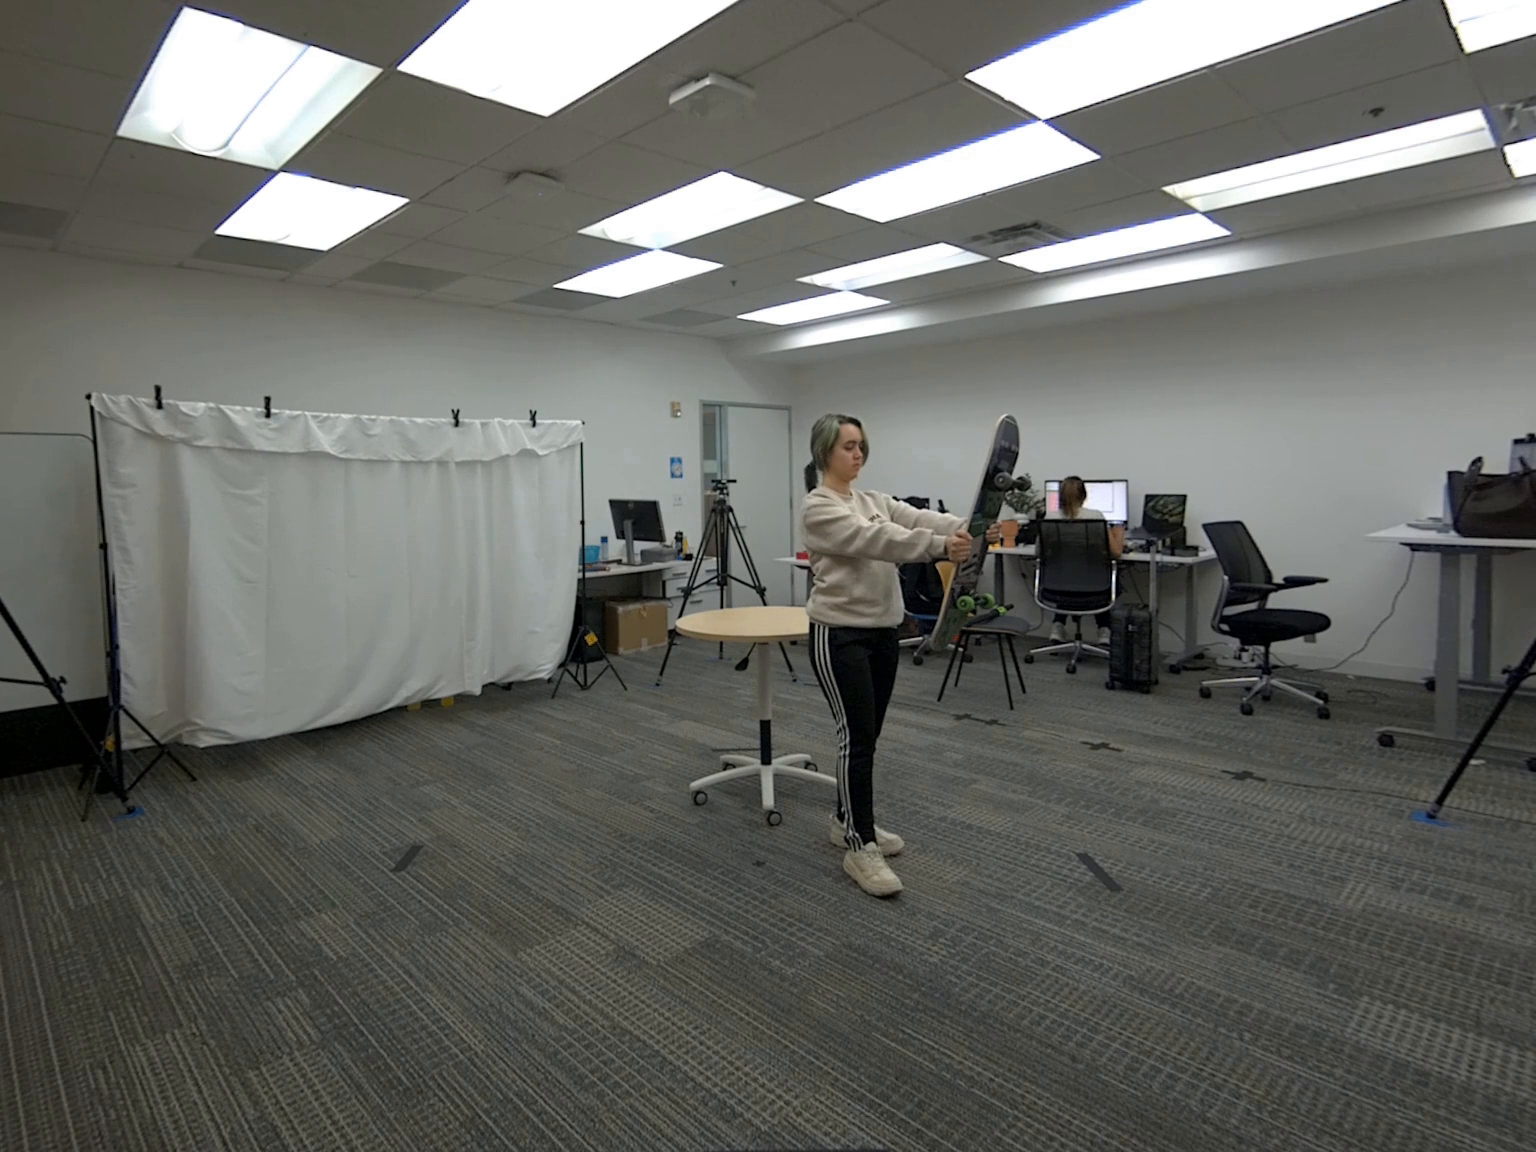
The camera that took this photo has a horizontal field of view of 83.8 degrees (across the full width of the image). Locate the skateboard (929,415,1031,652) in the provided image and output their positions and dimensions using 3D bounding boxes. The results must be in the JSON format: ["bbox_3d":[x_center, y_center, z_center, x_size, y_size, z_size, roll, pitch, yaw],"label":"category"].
[{"bbox_3d":[0.690,-0.114,2.696,0.114,0.780,0.188,23,14,39],"label":"skateboard"}]
